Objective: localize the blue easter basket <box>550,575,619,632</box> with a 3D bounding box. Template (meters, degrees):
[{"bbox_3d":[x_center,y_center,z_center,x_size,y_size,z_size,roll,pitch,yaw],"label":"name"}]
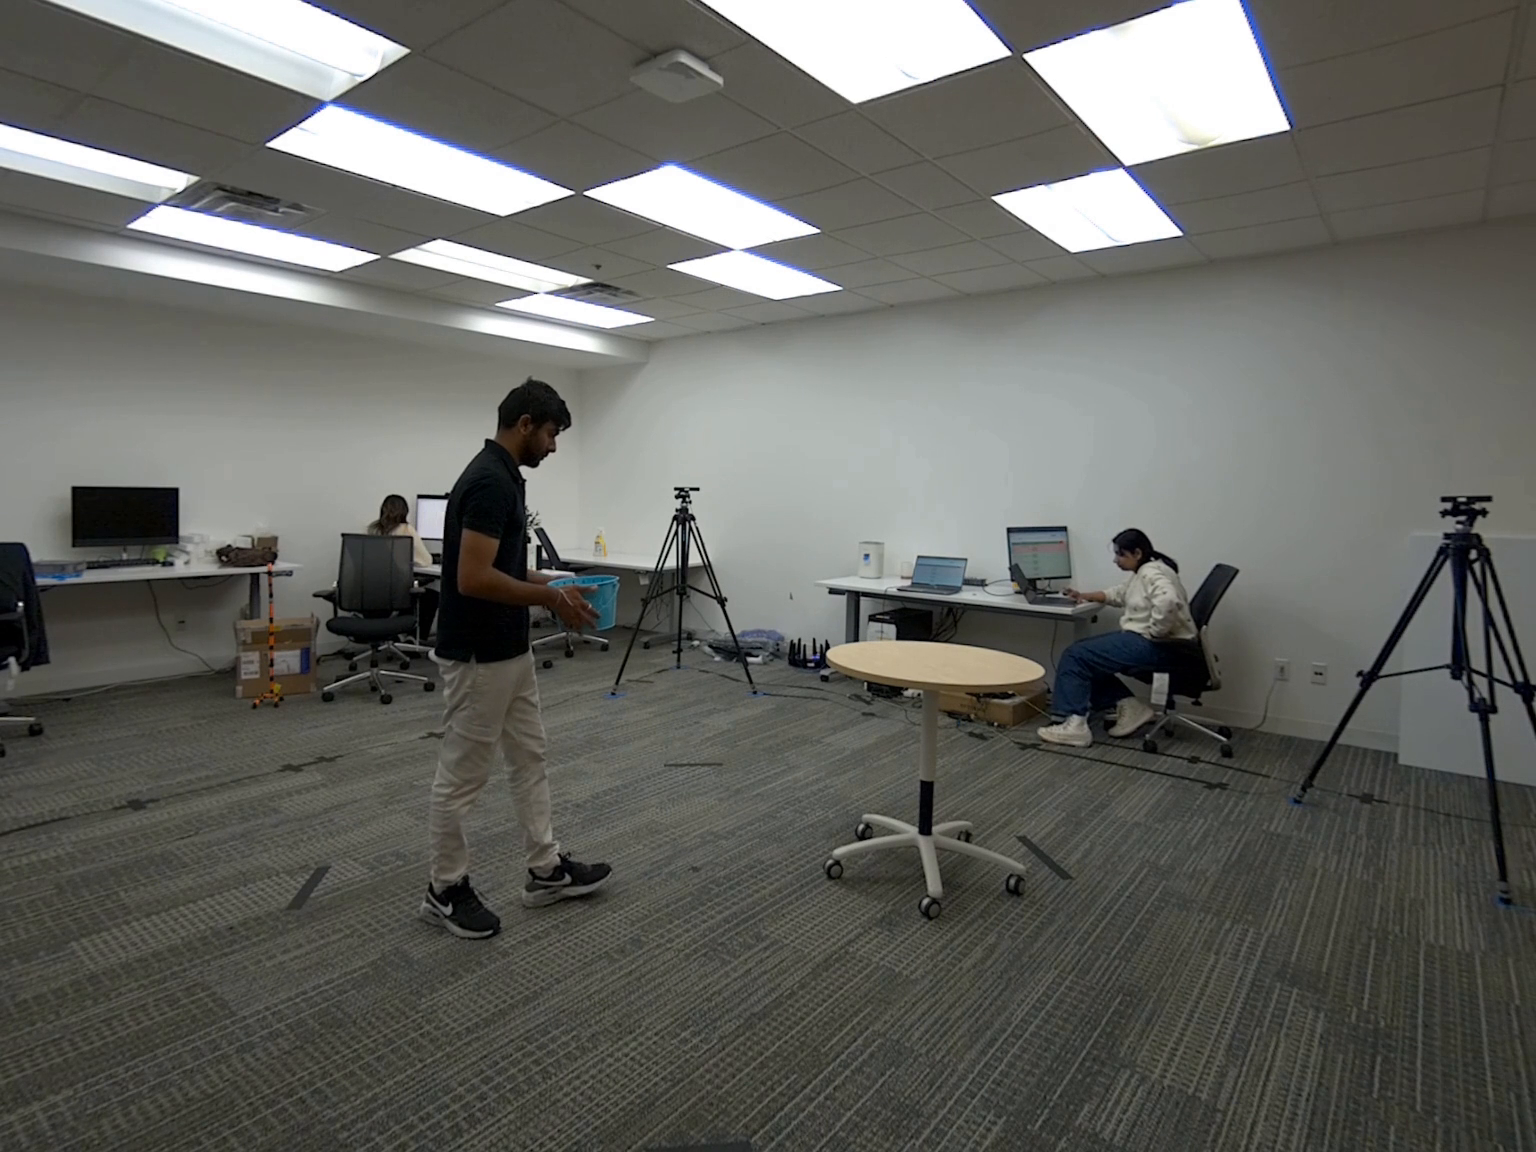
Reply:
[{"bbox_3d":[-0.632,0.093,2.754,0.243,0.155,0.245,-4,6,-1],"label":"blue easter basket"}]
